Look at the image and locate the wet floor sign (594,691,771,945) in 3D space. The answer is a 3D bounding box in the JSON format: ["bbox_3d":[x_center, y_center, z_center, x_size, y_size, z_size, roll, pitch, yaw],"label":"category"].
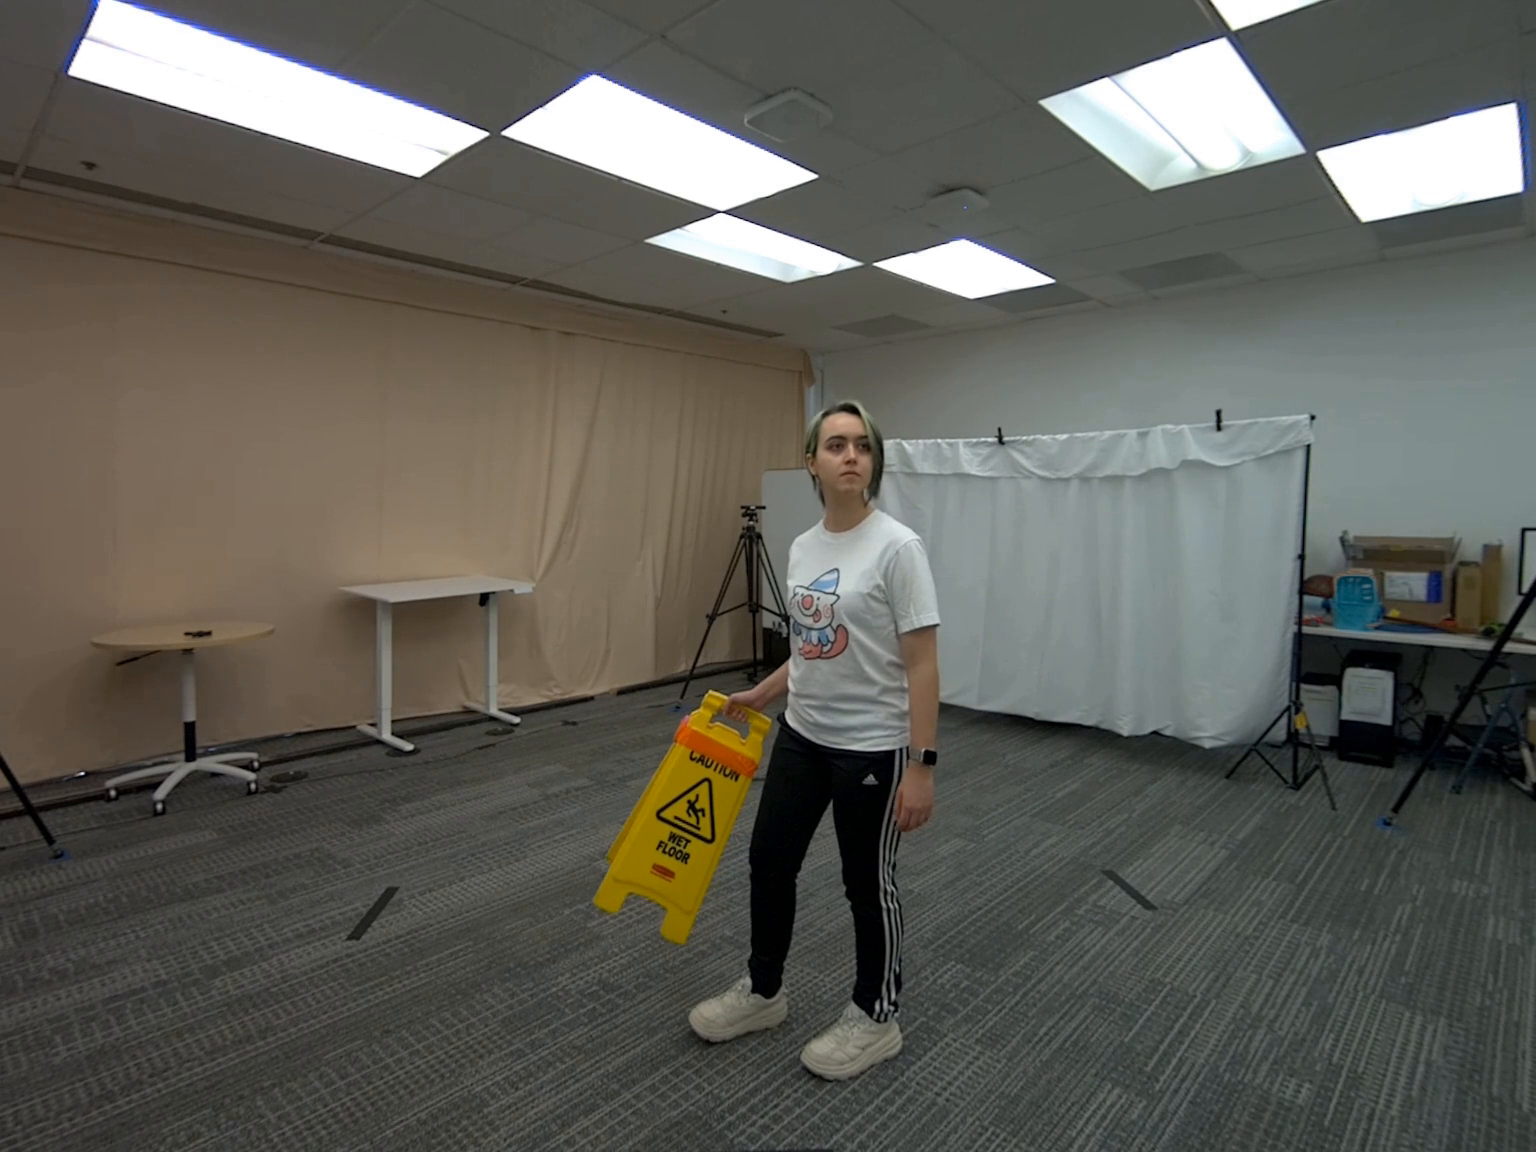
[{"bbox_3d":[-0.217,0.650,2.364,0.281,0.645,0.291,24,7,-4],"label":"wet floor sign"}]
